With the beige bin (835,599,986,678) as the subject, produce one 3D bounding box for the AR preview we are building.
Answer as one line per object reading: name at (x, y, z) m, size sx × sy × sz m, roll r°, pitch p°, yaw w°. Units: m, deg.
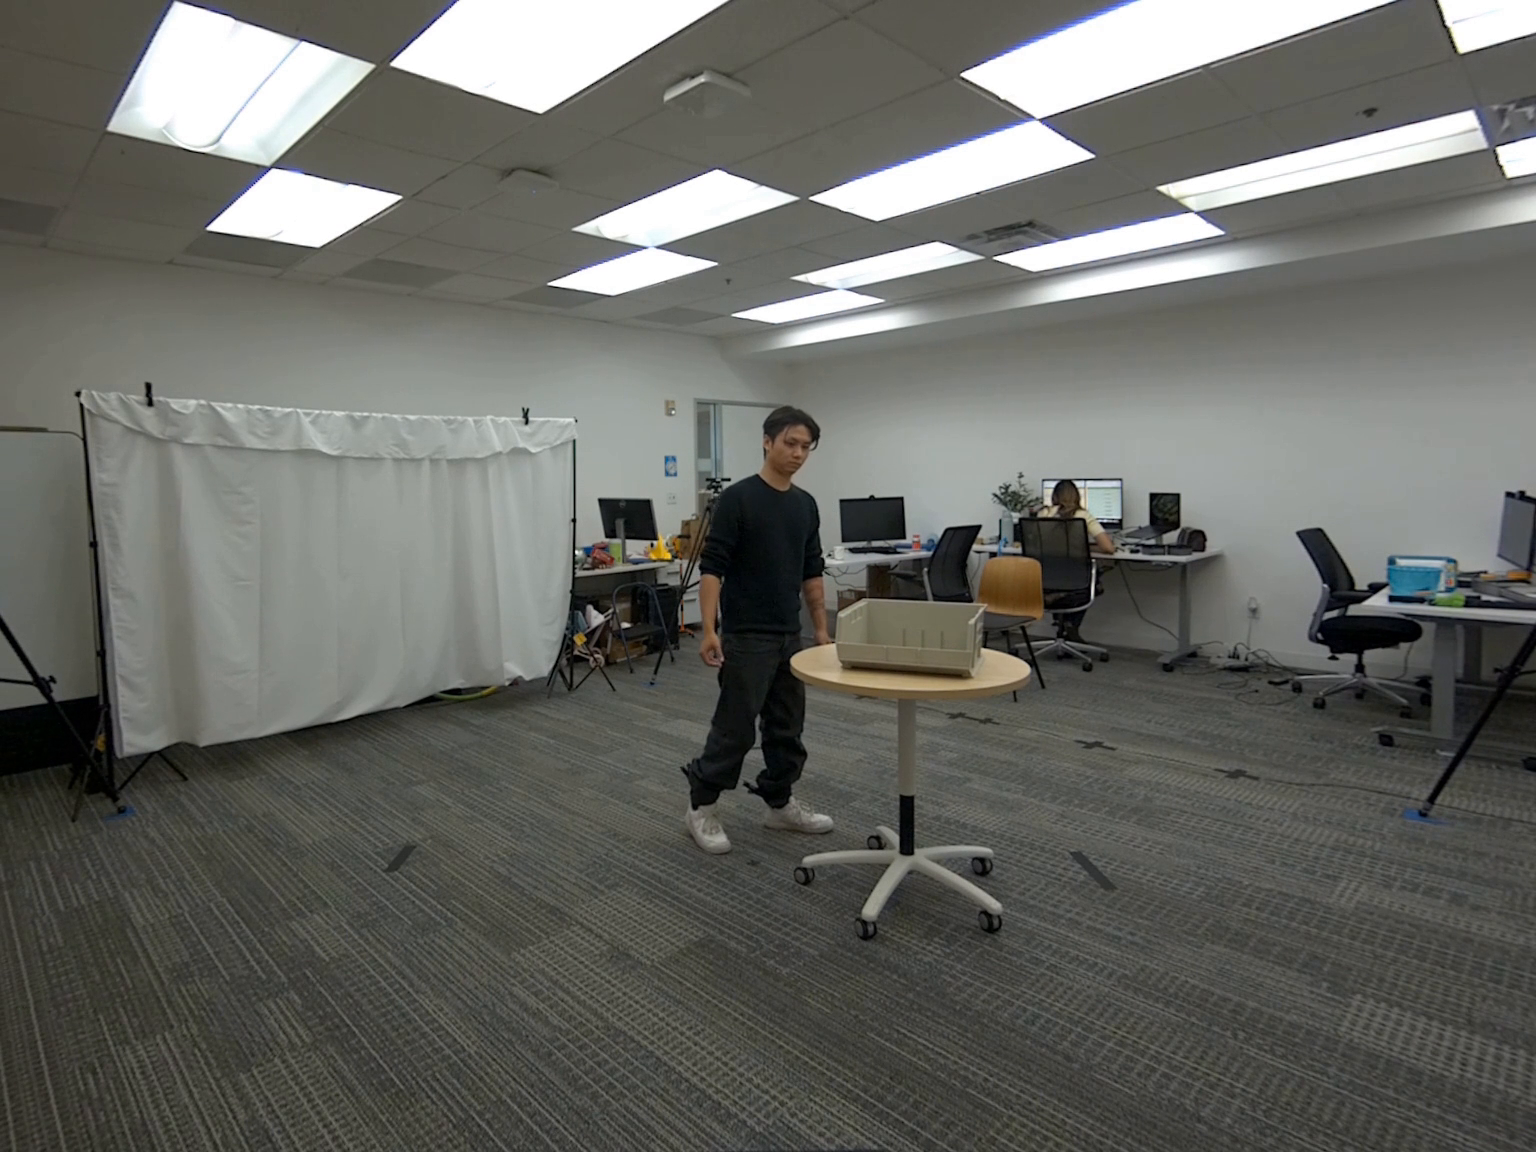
beige bin at (0.486, 0.205, 2.766) m, size 0.430 × 0.188 × 0.372 m, roll 1°, pitch 6°, yaw 20°
